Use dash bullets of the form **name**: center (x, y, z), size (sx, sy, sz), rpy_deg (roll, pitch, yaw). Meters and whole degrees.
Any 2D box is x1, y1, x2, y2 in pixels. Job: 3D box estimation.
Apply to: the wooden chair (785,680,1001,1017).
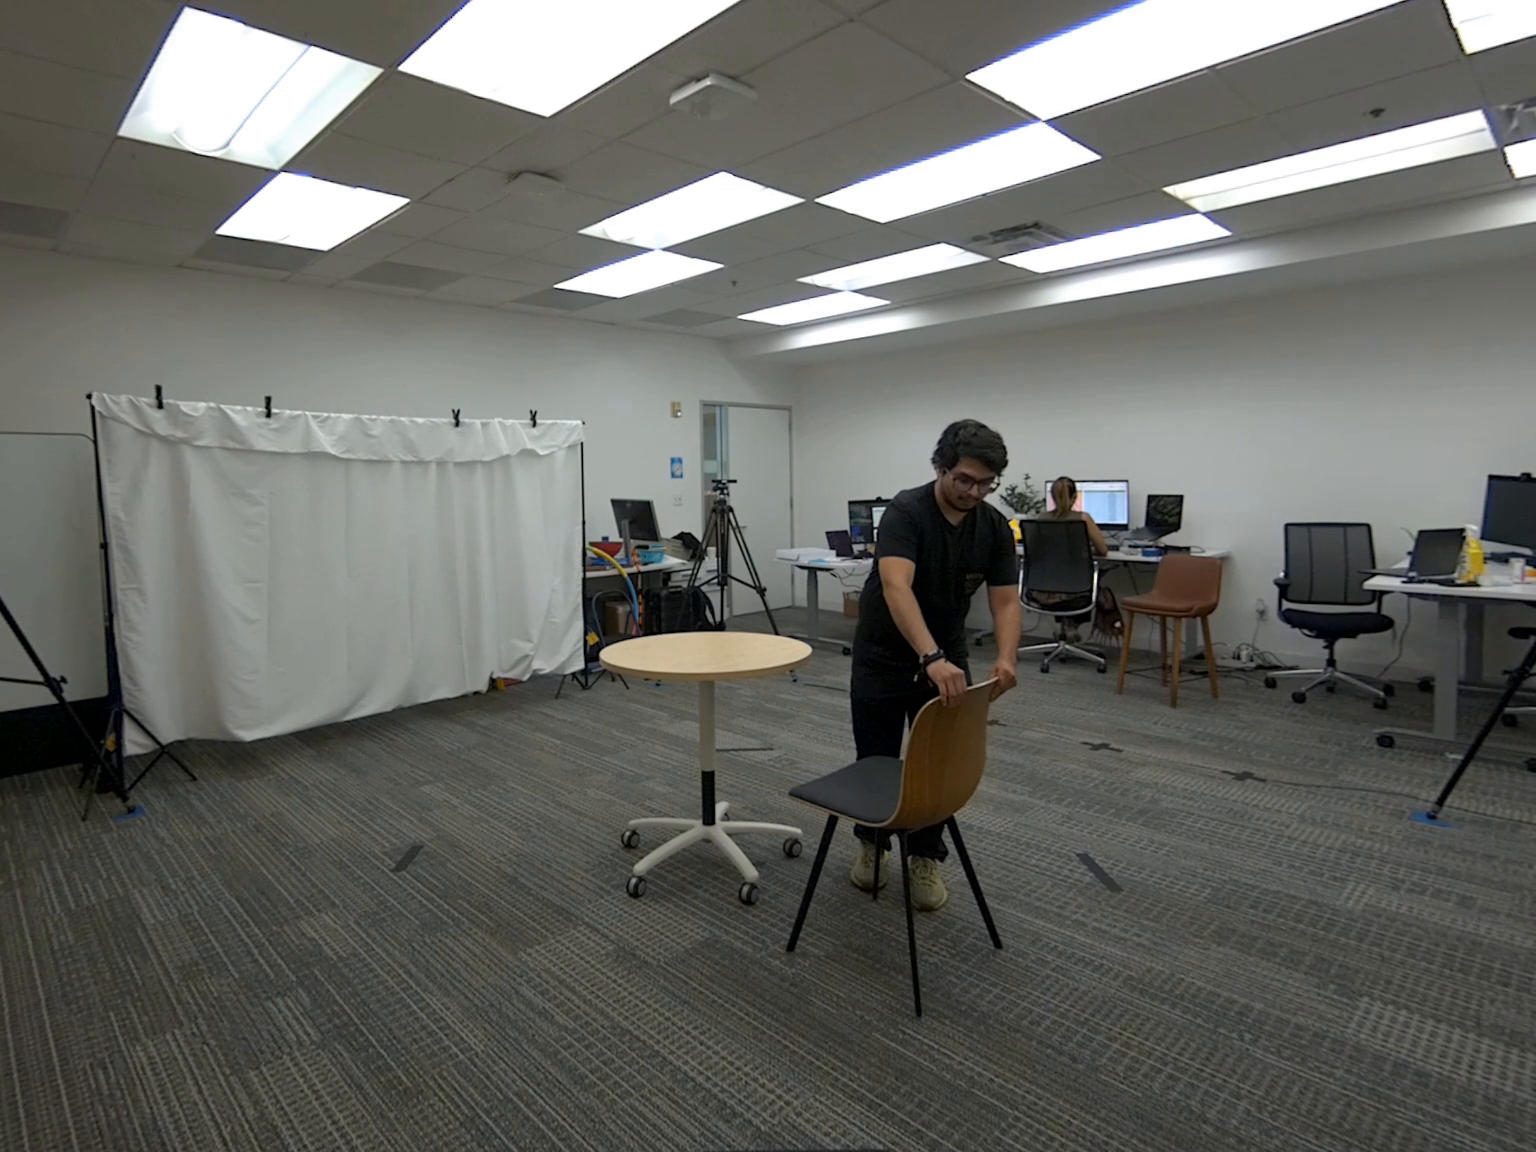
- **wooden chair**: center (0.362, 0.682, 2.492), size (0.540, 0.871, 0.466), rpy_deg (9, 11, 43)
